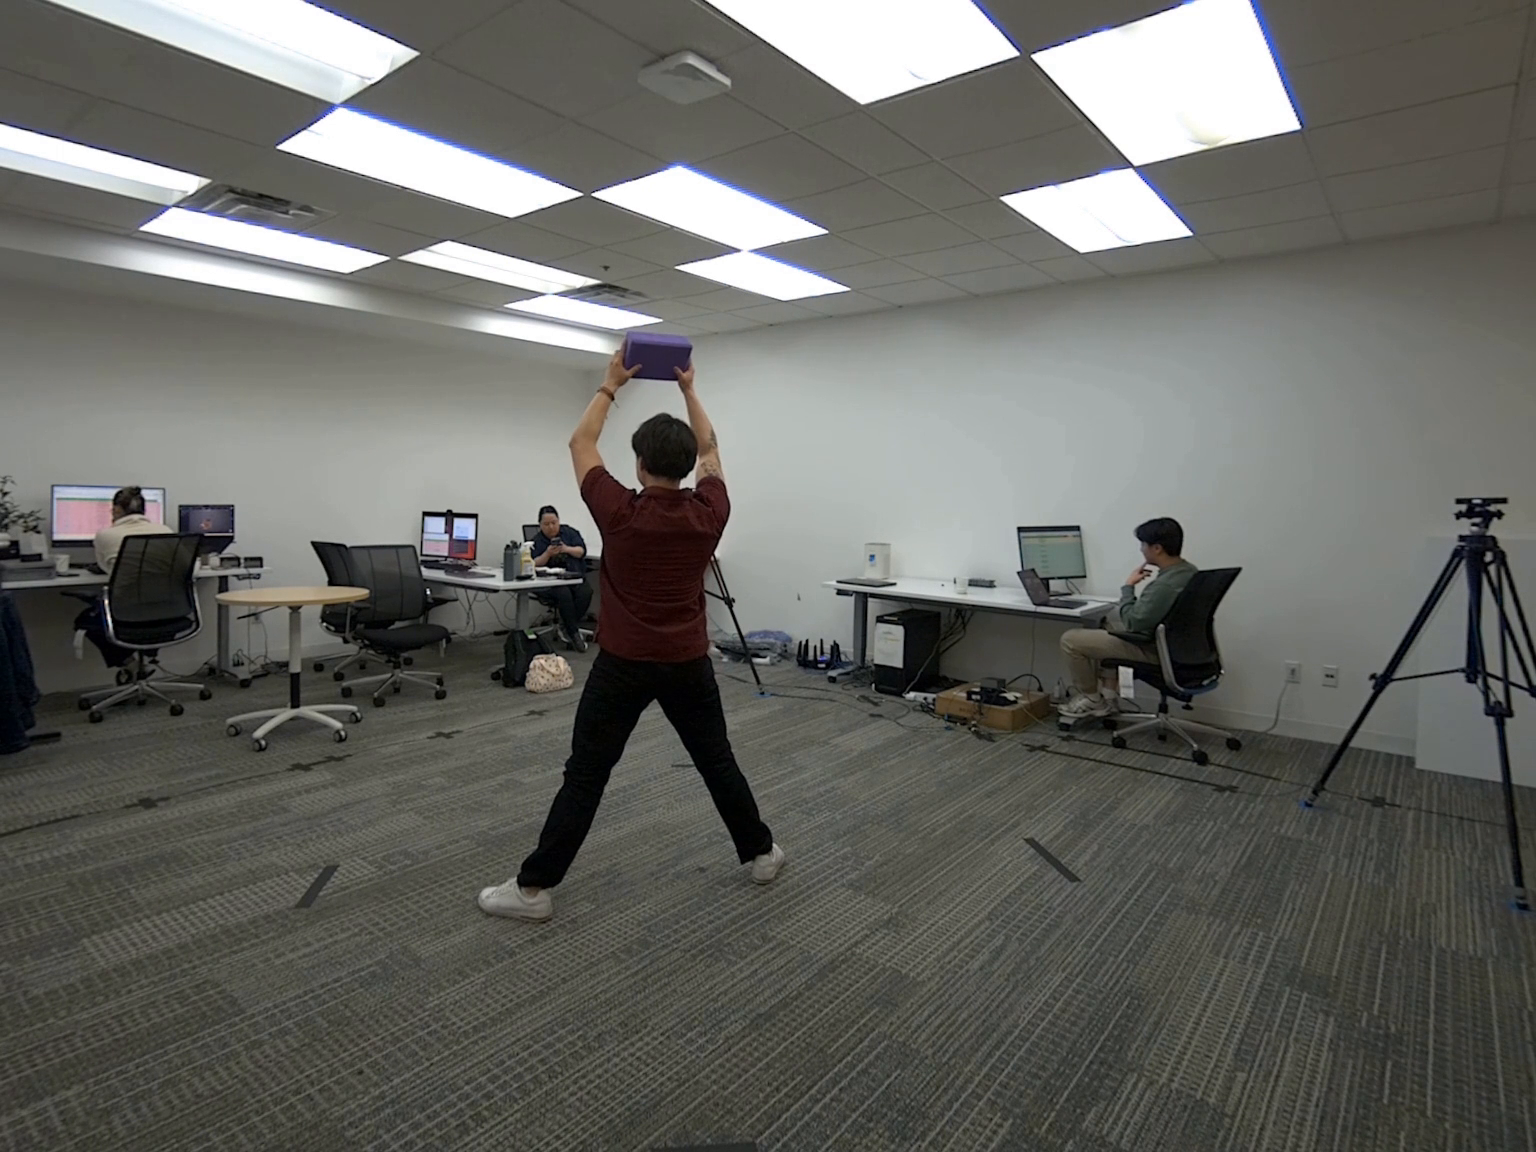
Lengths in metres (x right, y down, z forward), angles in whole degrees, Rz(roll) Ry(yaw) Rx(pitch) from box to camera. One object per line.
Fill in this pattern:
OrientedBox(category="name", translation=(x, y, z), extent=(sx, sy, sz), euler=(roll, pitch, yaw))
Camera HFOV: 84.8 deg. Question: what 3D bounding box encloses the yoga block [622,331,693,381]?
OrientedBox(category="yoga block", translation=(-0.410, -0.759, 2.946), extent=(0.223, 0.147, 0.079), euler=(-3, 43, -29))
